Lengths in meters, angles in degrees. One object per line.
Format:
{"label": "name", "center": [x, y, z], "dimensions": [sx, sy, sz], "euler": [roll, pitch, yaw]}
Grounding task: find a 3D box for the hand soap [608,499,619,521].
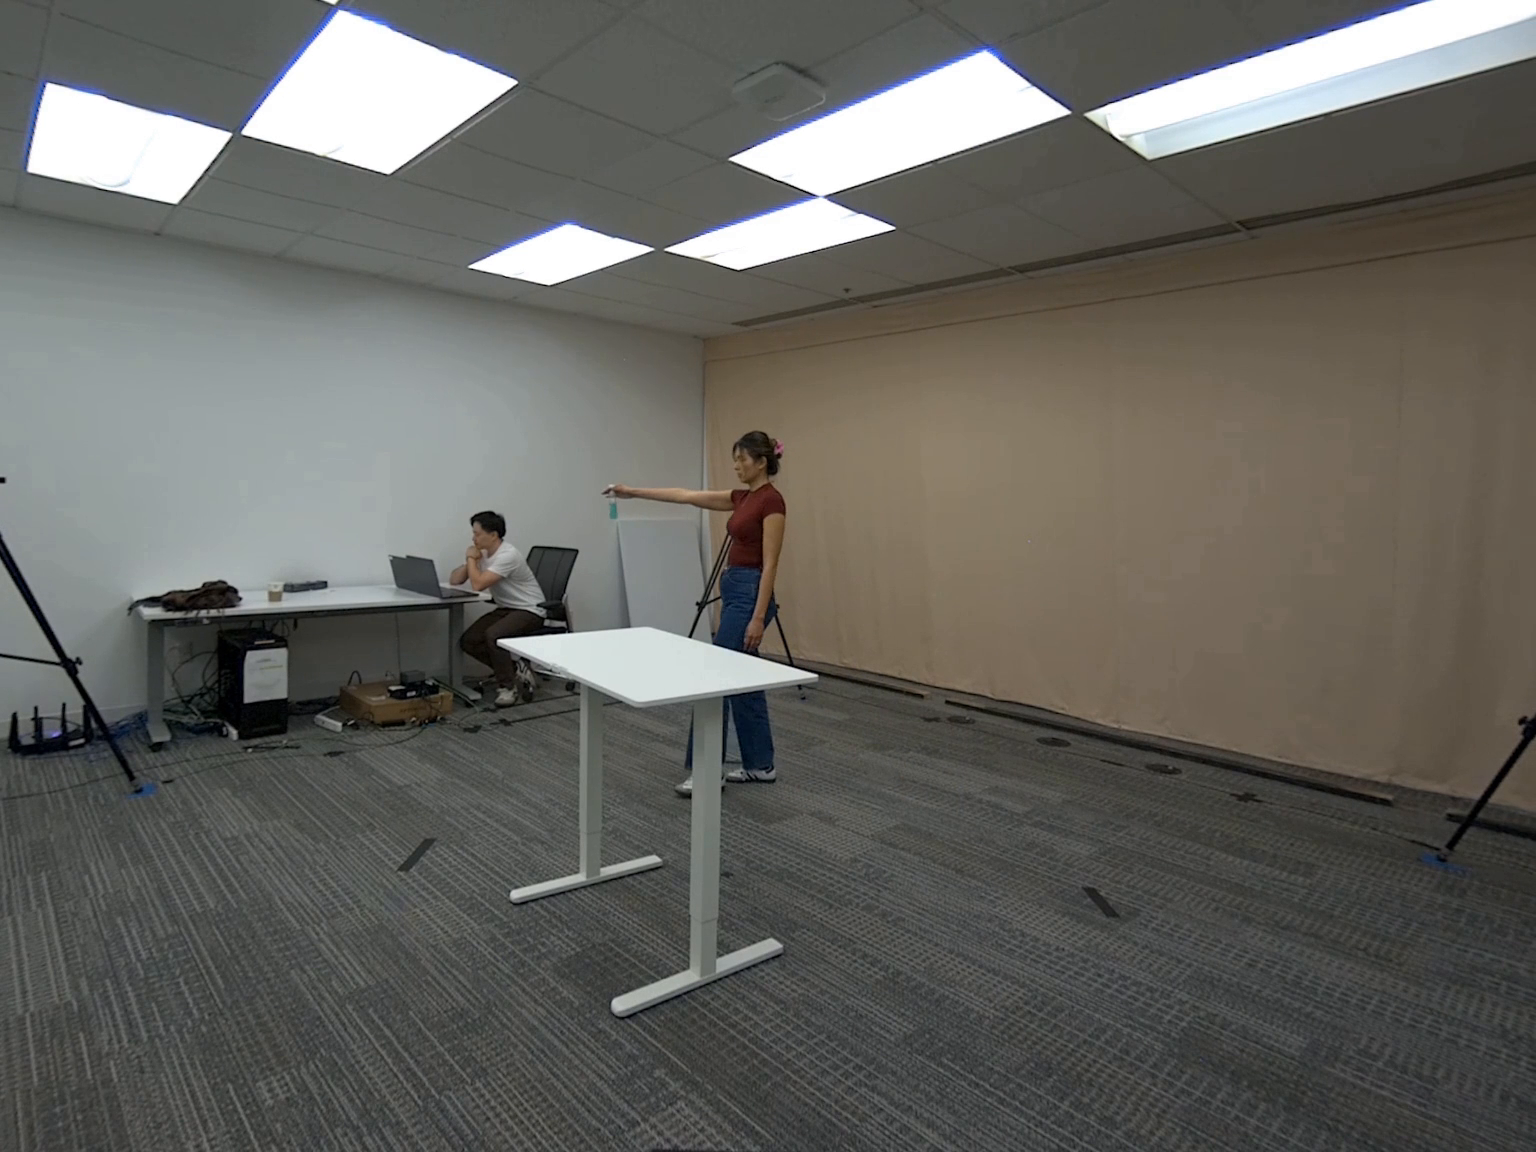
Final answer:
{"label": "hand soap", "center": [-0.784, -0.370, 4.181], "dimensions": [0.043, 0.167, 0.086], "euler": [-2, 10, -12]}
